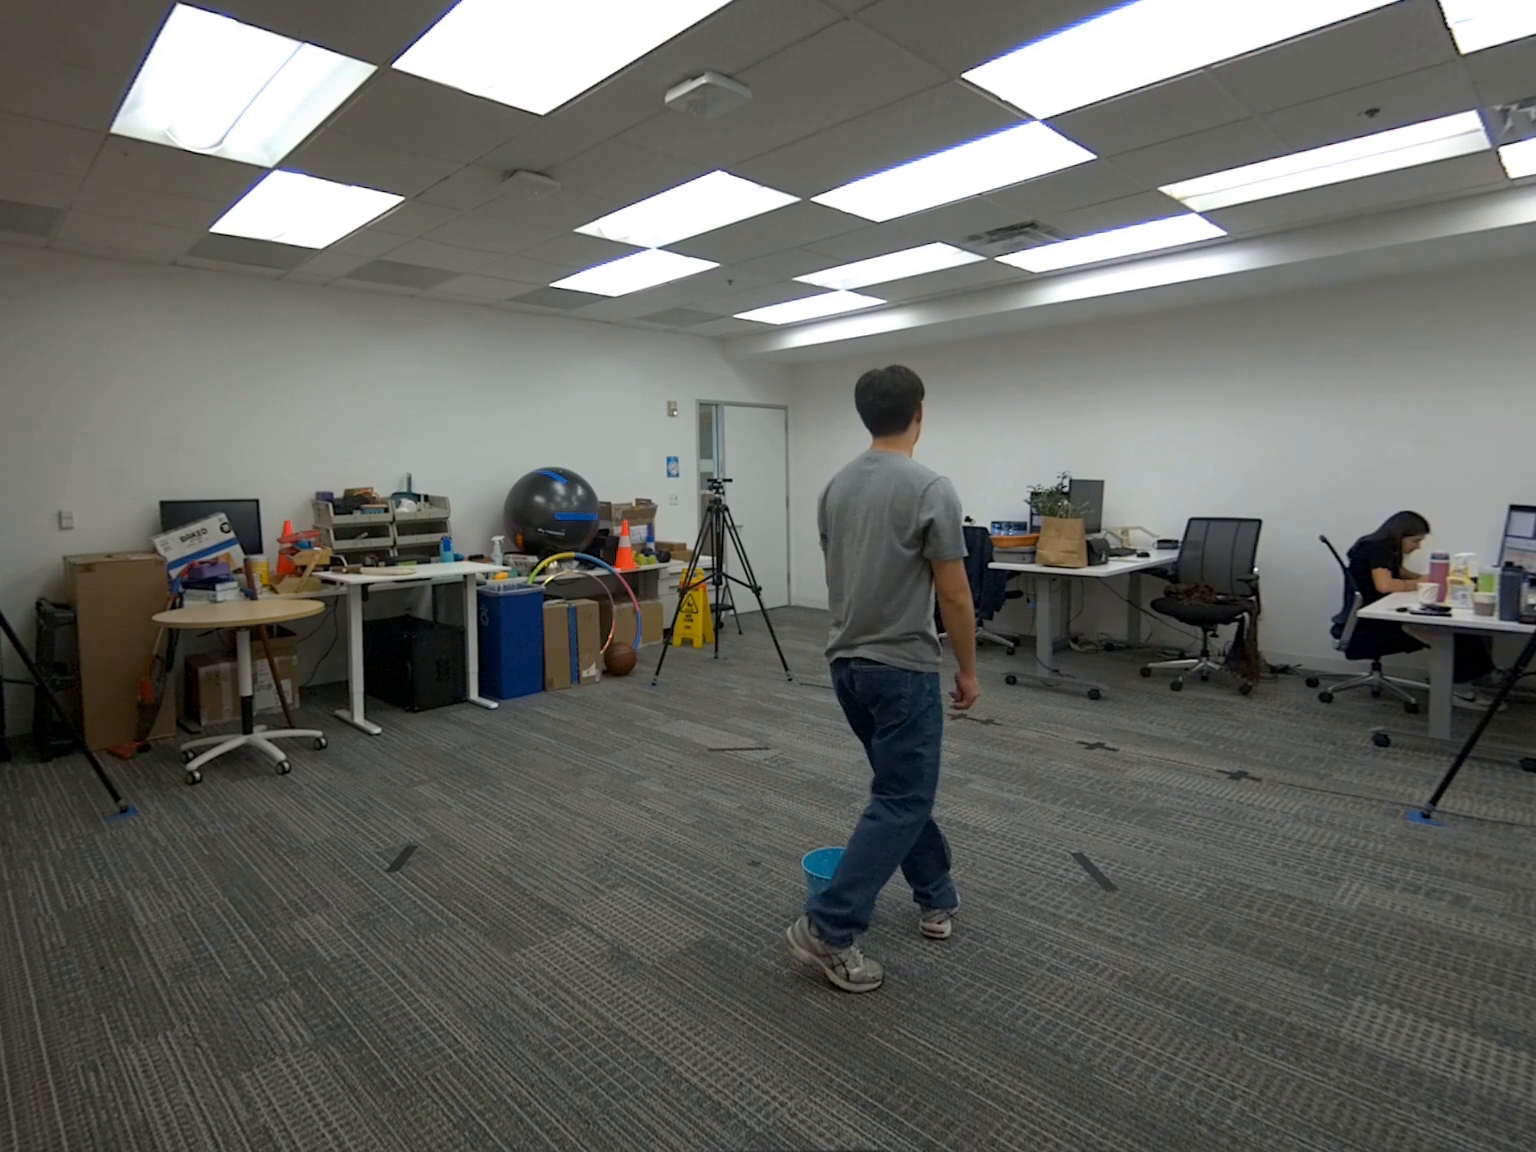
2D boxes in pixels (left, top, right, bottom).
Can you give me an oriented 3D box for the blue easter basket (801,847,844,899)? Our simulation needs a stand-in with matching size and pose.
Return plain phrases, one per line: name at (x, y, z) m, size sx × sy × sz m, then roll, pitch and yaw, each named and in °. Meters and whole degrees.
blue easter basket at (0.240, 1.003, 2.760) m, size 0.243 × 0.155 × 0.245 m, roll -2°, pitch 5°, yaw -2°
